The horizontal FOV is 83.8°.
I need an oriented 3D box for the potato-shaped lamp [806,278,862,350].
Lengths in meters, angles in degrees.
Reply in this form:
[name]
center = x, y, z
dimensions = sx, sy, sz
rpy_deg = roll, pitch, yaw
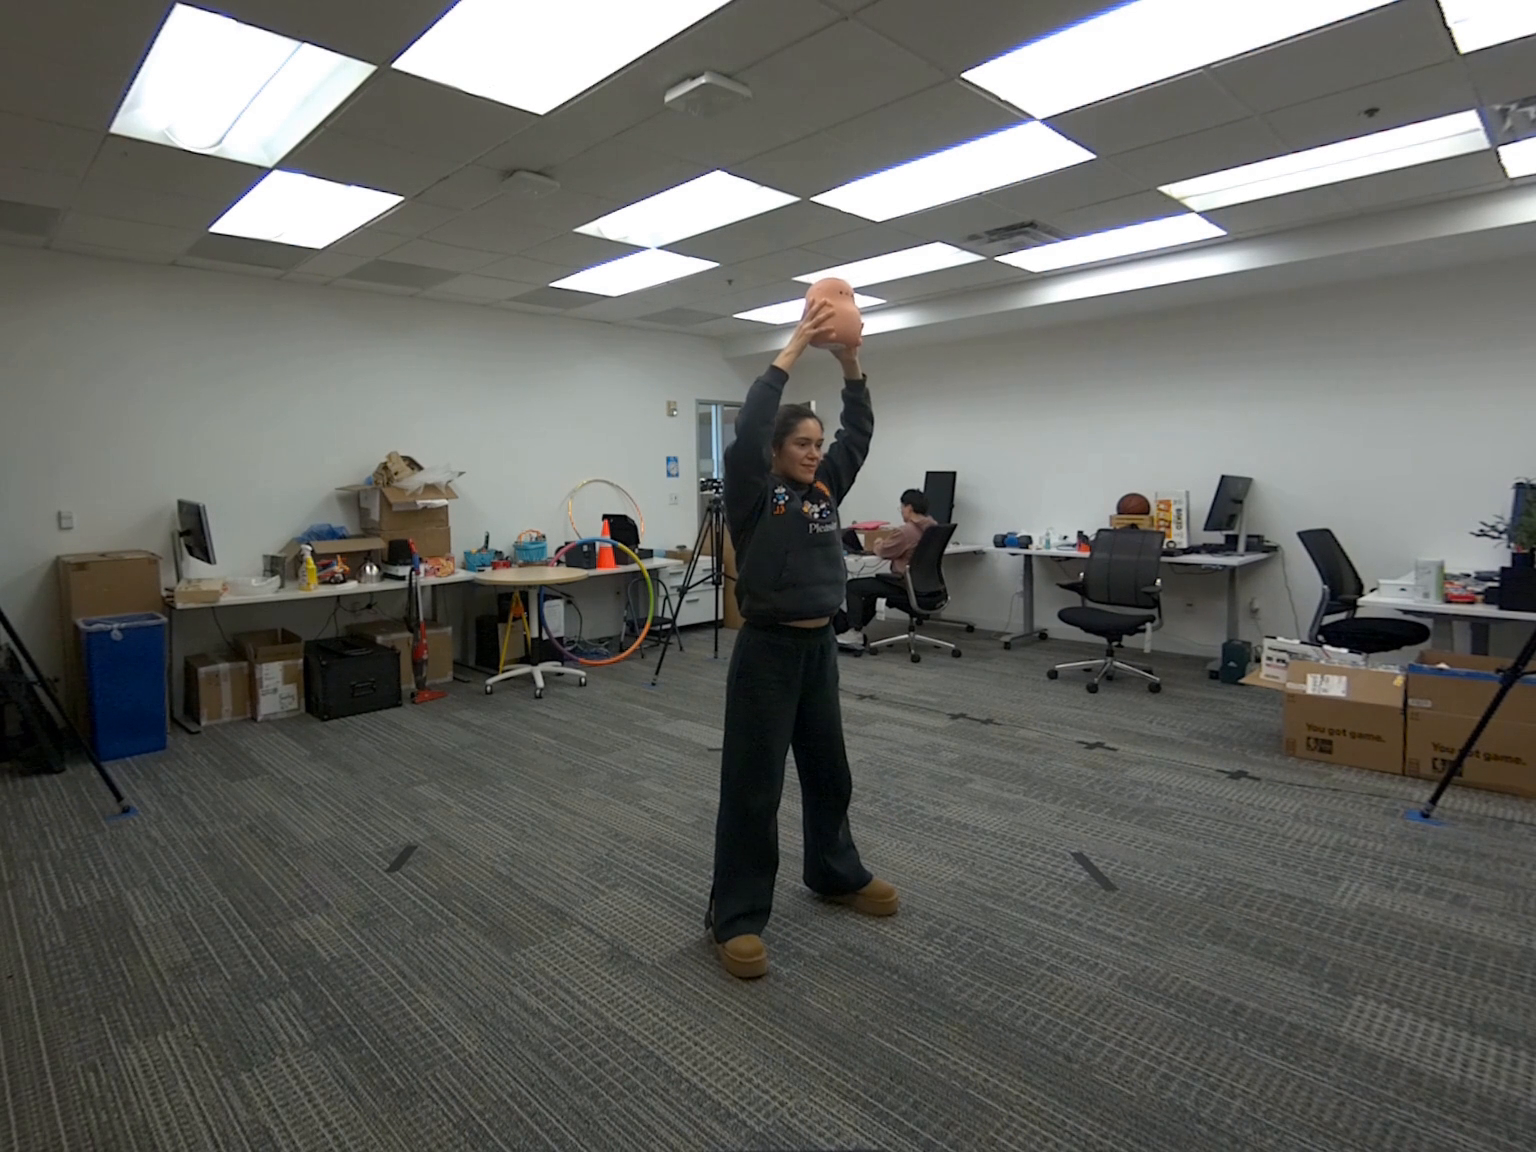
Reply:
[potato-shaped lamp]
center = 0.181, -0.746, 2.390
dimensions = 0.160, 0.197, 0.177
rpy_deg = 0, 4, -38
